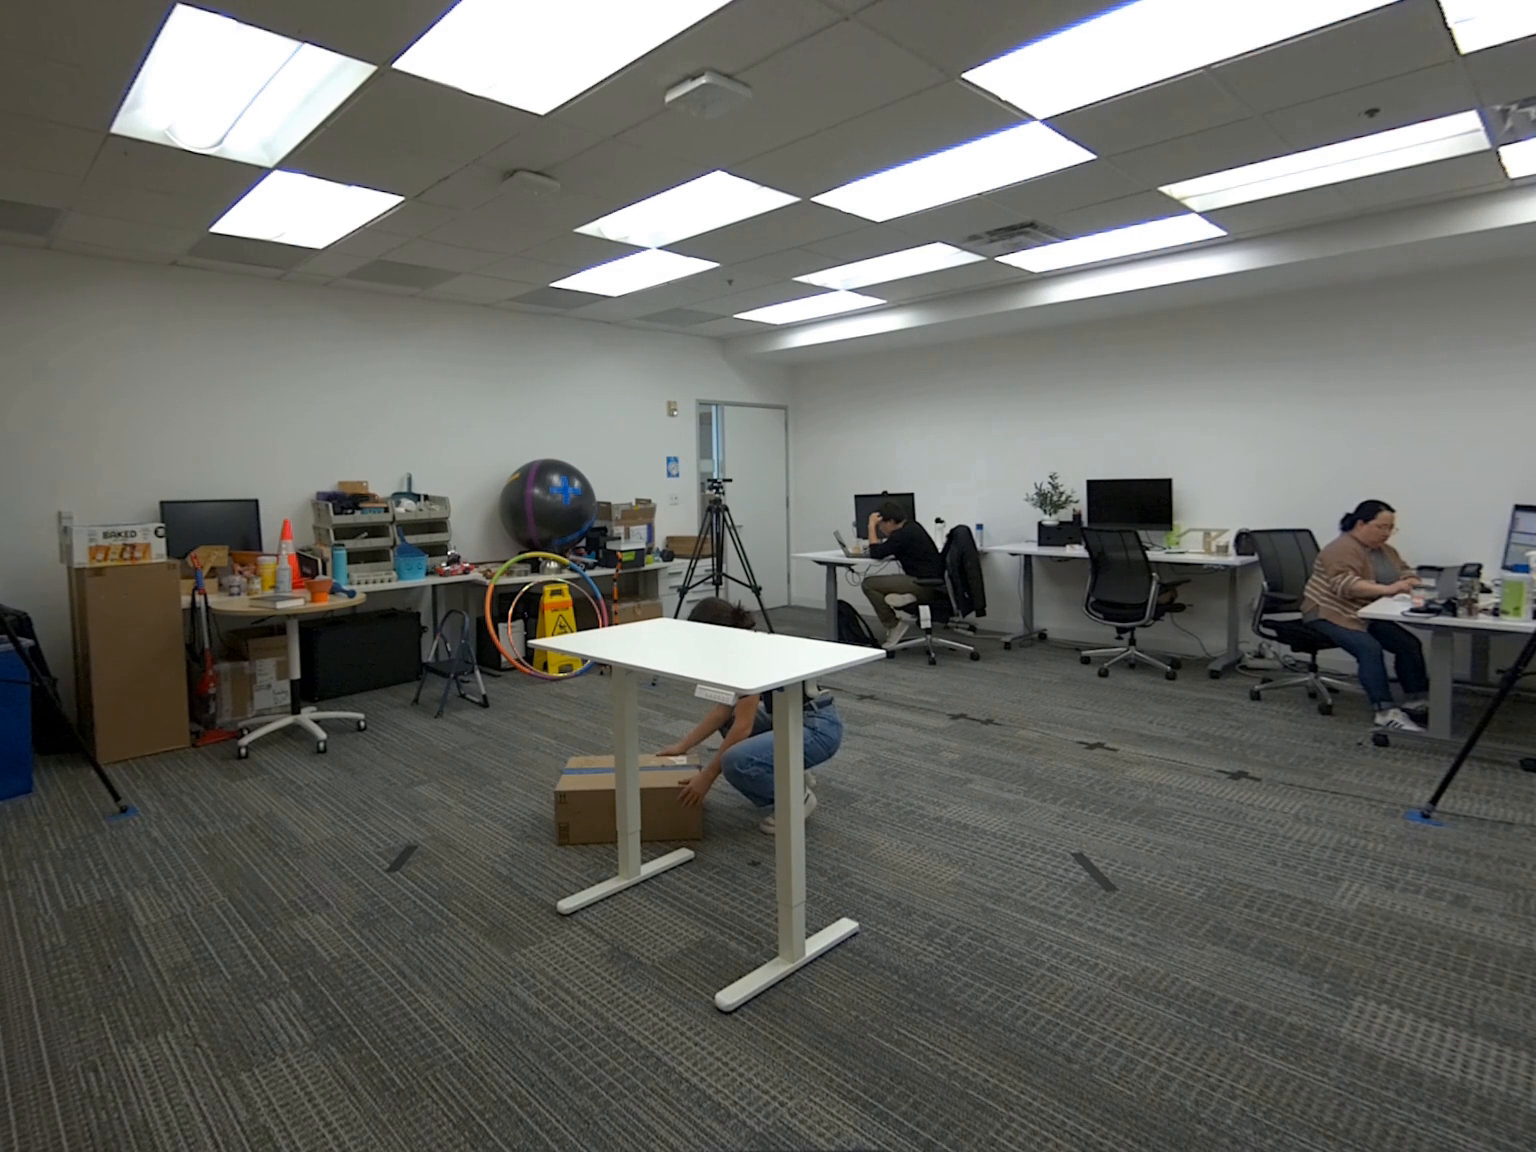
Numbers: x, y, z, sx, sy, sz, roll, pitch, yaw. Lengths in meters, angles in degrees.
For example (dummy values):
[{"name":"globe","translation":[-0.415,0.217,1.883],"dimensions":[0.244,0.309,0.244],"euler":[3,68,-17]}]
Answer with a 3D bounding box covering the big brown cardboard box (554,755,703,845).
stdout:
[{"name":"big brown cardboard box","translation":[-0.553,0.901,3.500],"dimensions":[0.587,0.232,0.421],"euler":[-2,5,-4]}]
